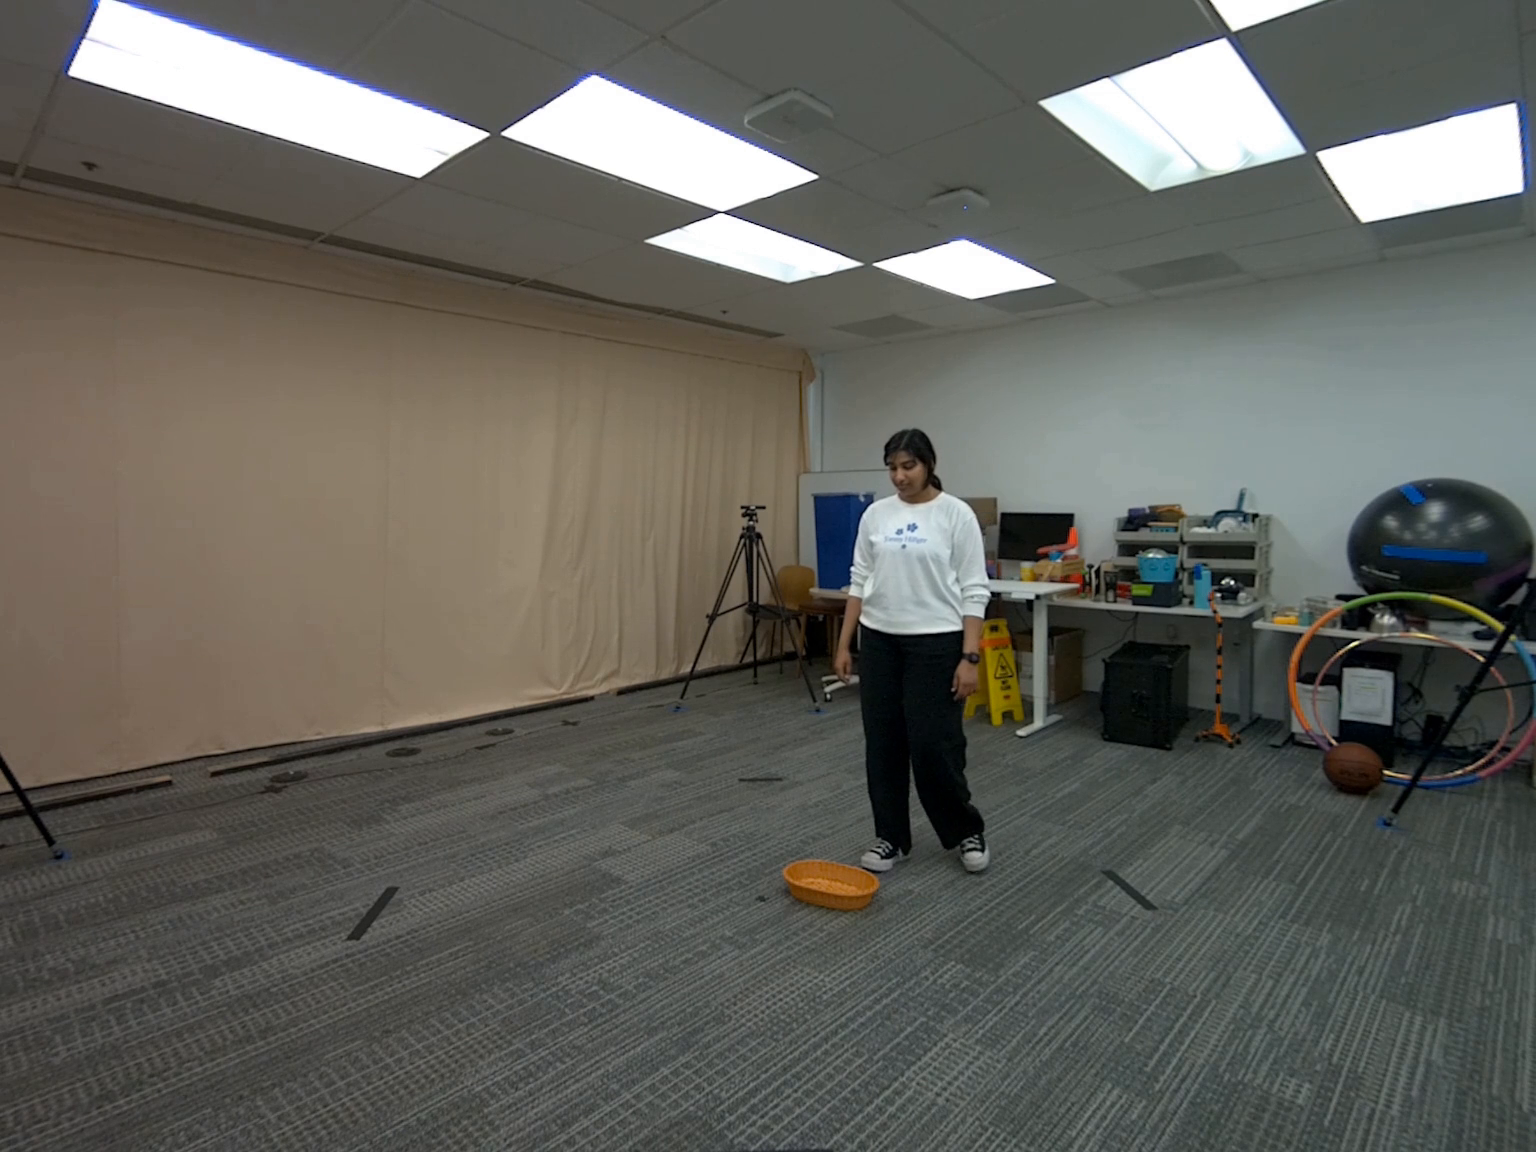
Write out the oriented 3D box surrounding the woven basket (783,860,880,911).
[{"bbox_3d":[0.226,1.098,3.004,0.361,0.073,0.245,2,4,31],"label":"woven basket"}]
